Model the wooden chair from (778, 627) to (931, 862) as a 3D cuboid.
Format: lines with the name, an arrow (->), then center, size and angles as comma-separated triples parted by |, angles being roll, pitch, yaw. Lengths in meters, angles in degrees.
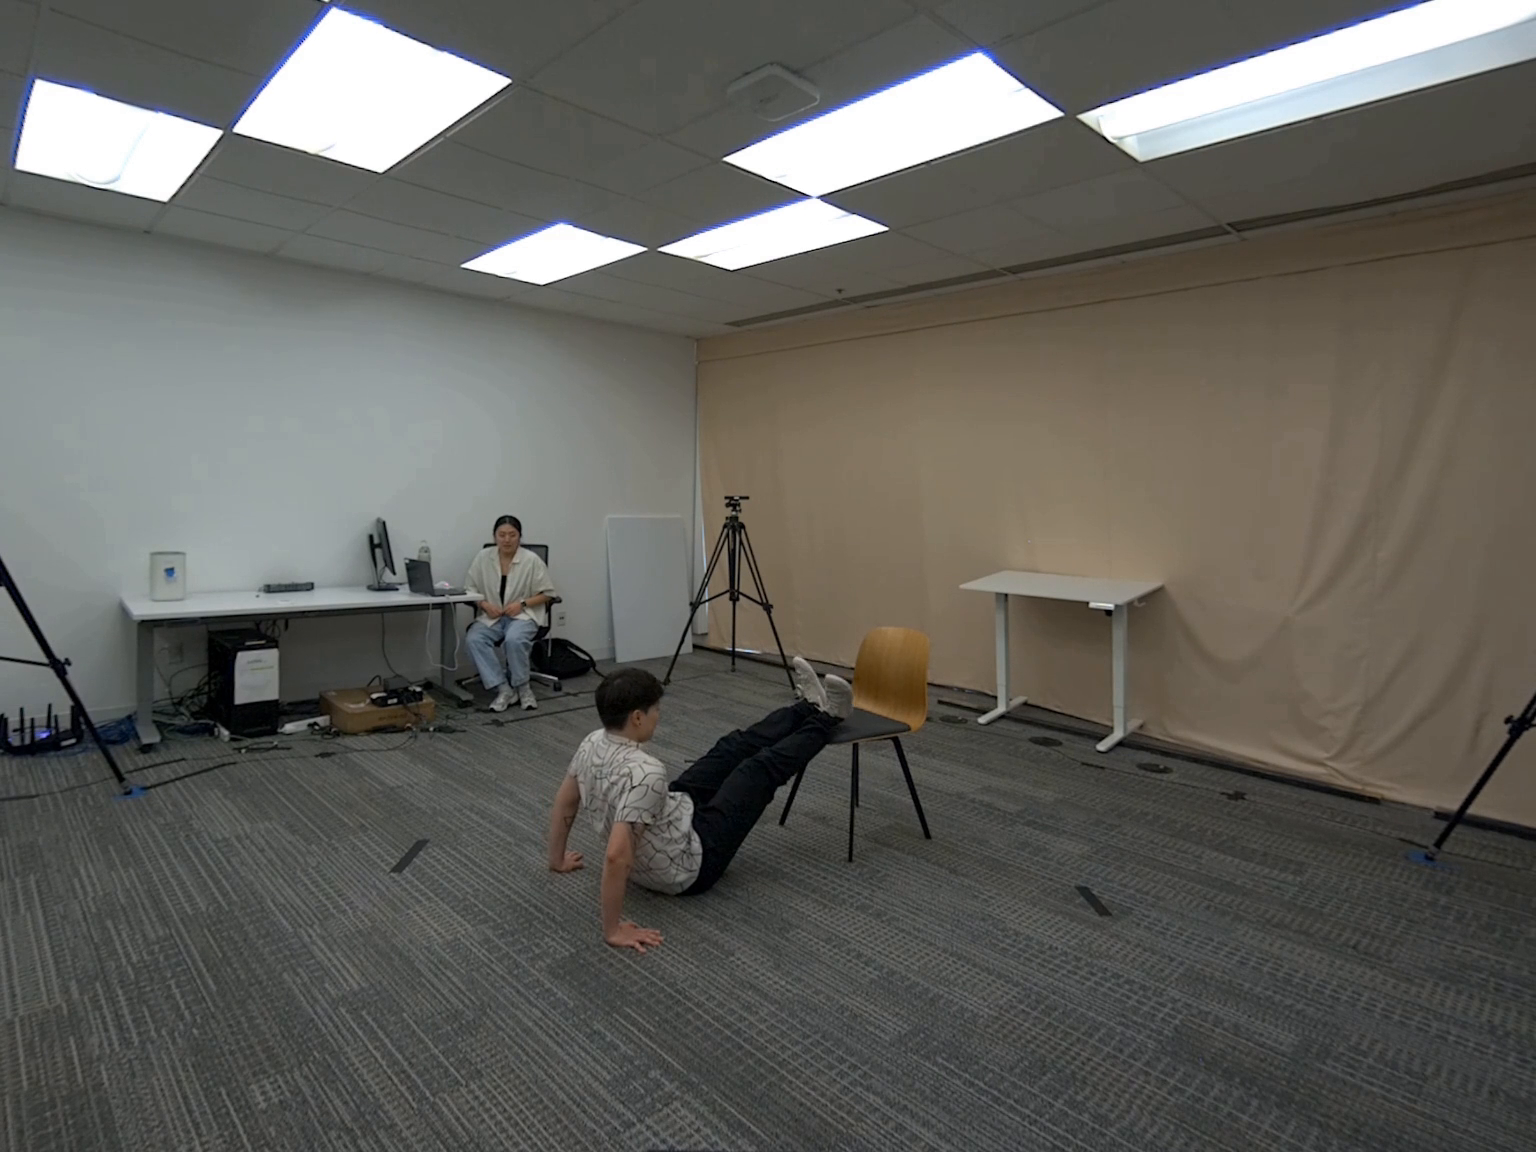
wooden chair -> 0.362, 0.651, 3.515 | 0.510, 0.877, 0.490 | 5, 1, -36
